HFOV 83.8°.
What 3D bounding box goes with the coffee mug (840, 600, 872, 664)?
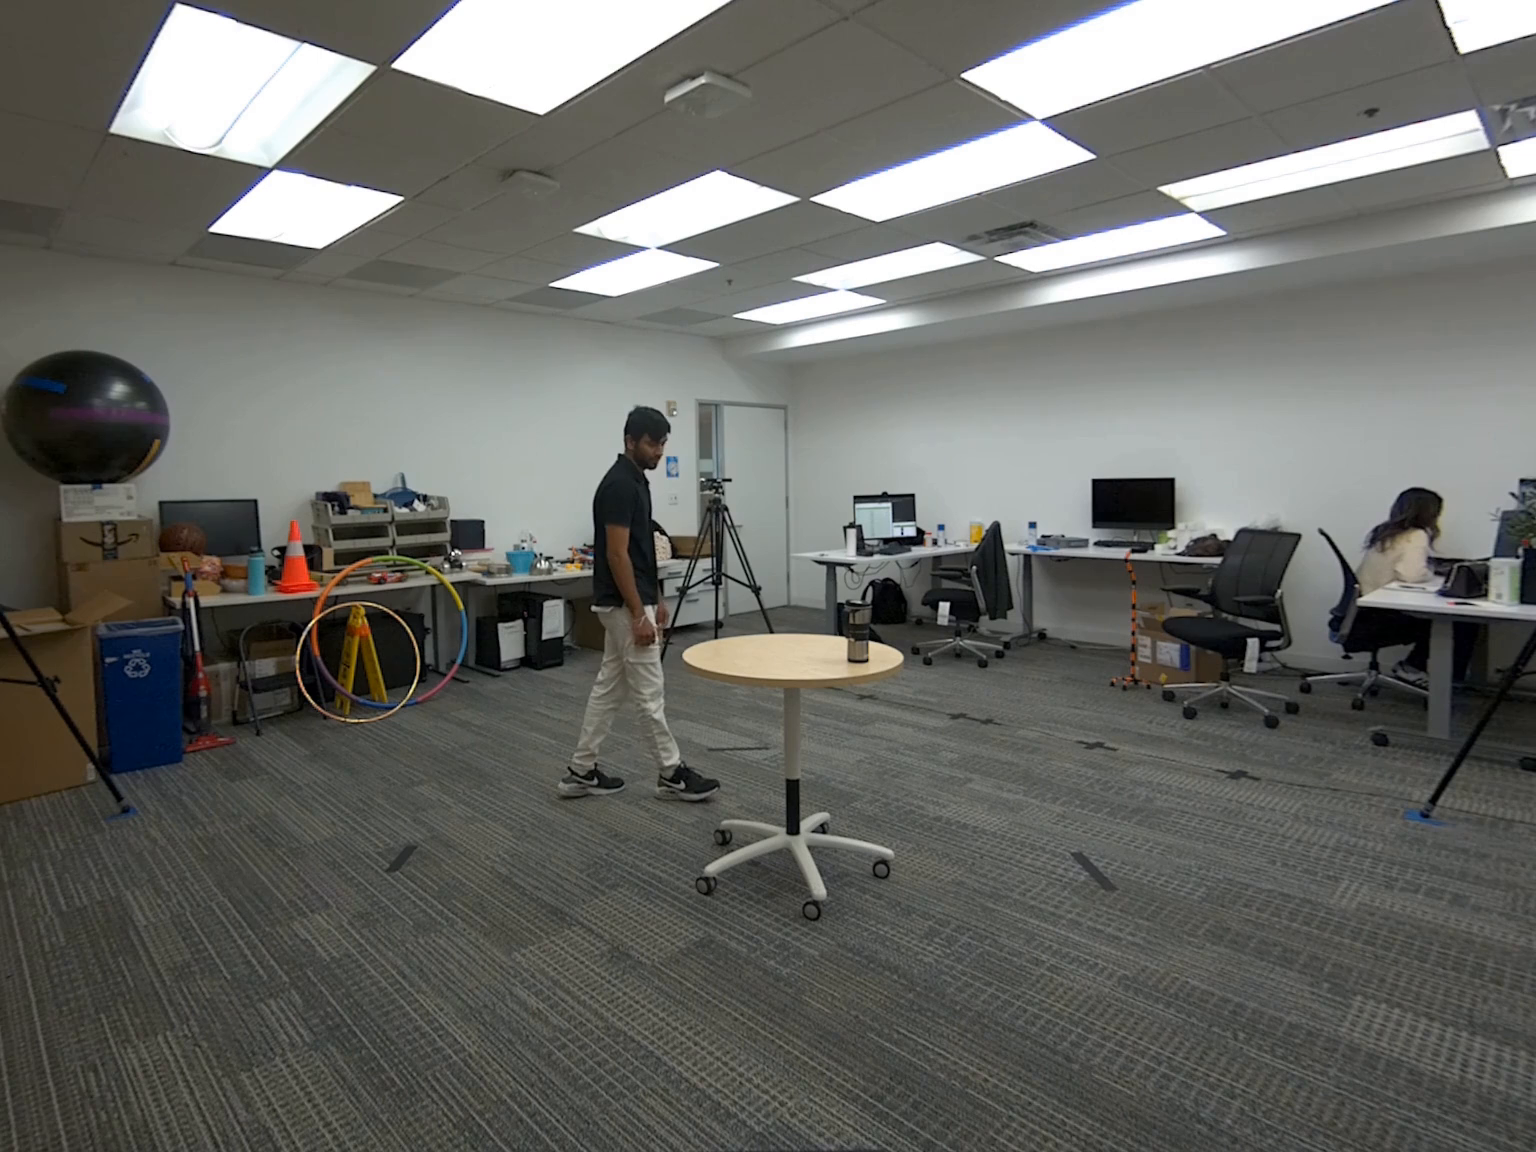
[{"bbox_3d":[0.289,0.188,2.839,0.119,0.202,0.090,1,6,-27],"label":"coffee mug"}]
